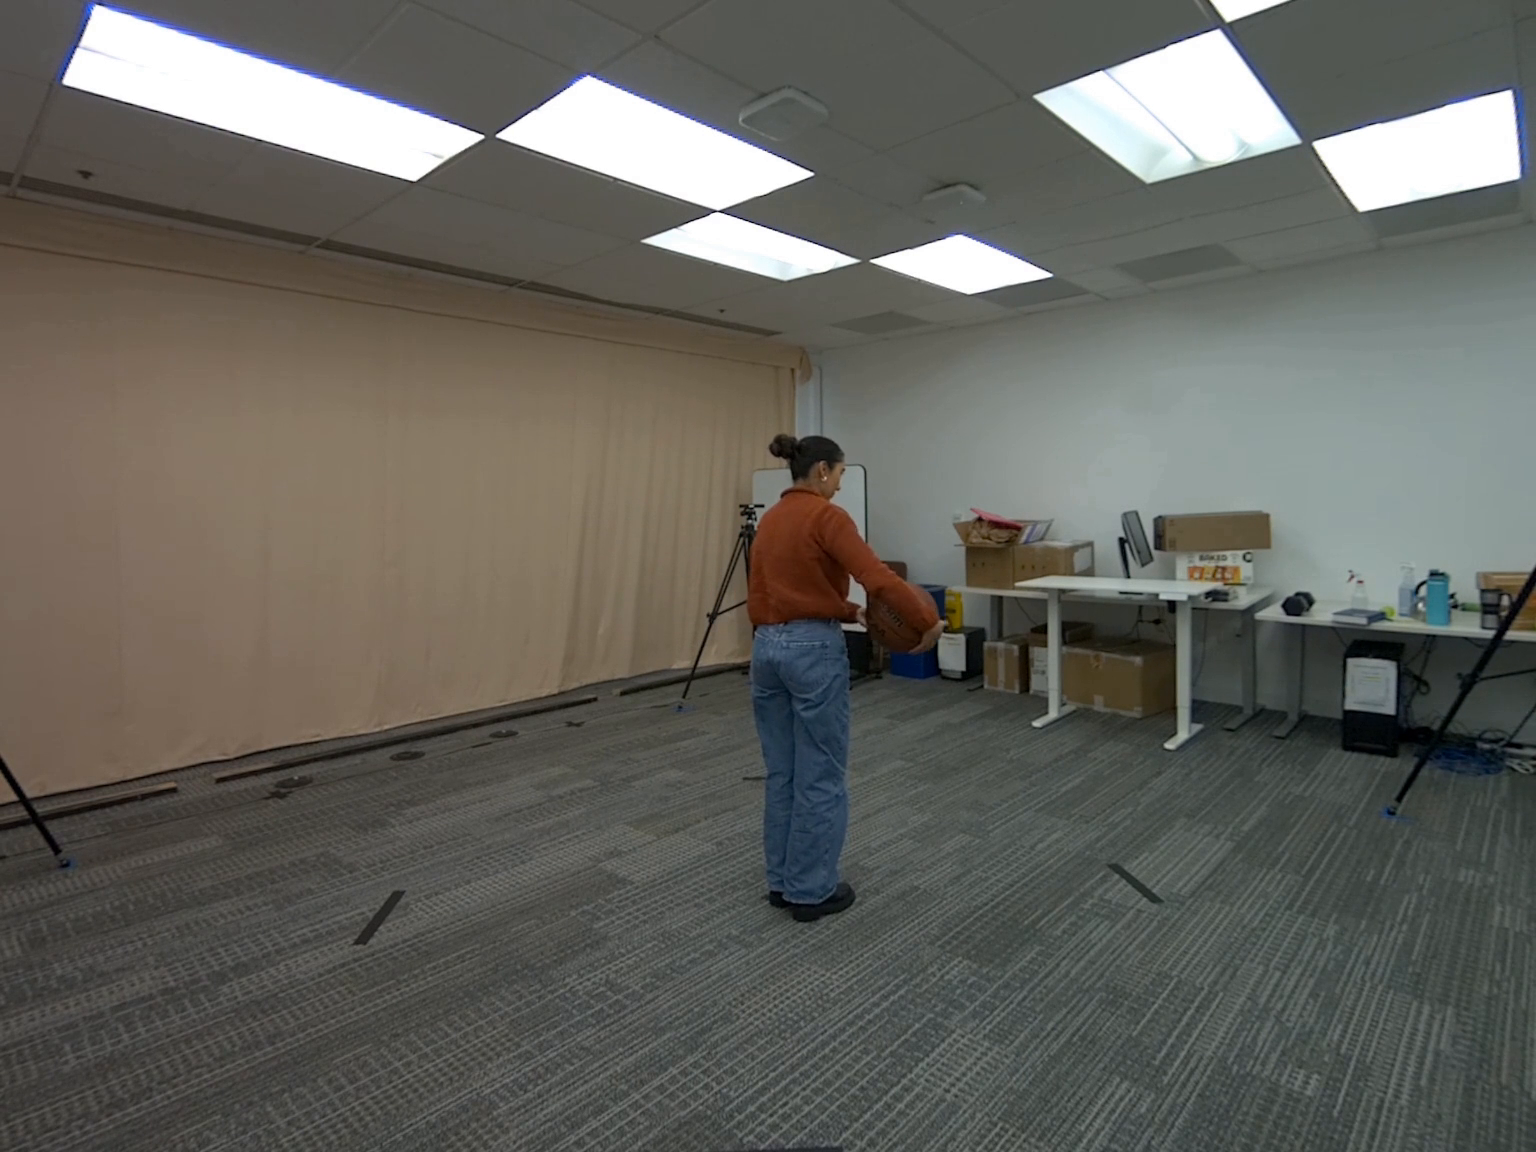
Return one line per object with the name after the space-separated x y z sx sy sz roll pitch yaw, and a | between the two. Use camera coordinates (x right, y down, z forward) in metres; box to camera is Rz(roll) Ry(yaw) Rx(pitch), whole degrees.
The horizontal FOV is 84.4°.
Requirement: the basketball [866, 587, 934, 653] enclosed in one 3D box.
0.436 0.134 2.783 0.236 0.235 0.237 -1 4 -2 | basketball
